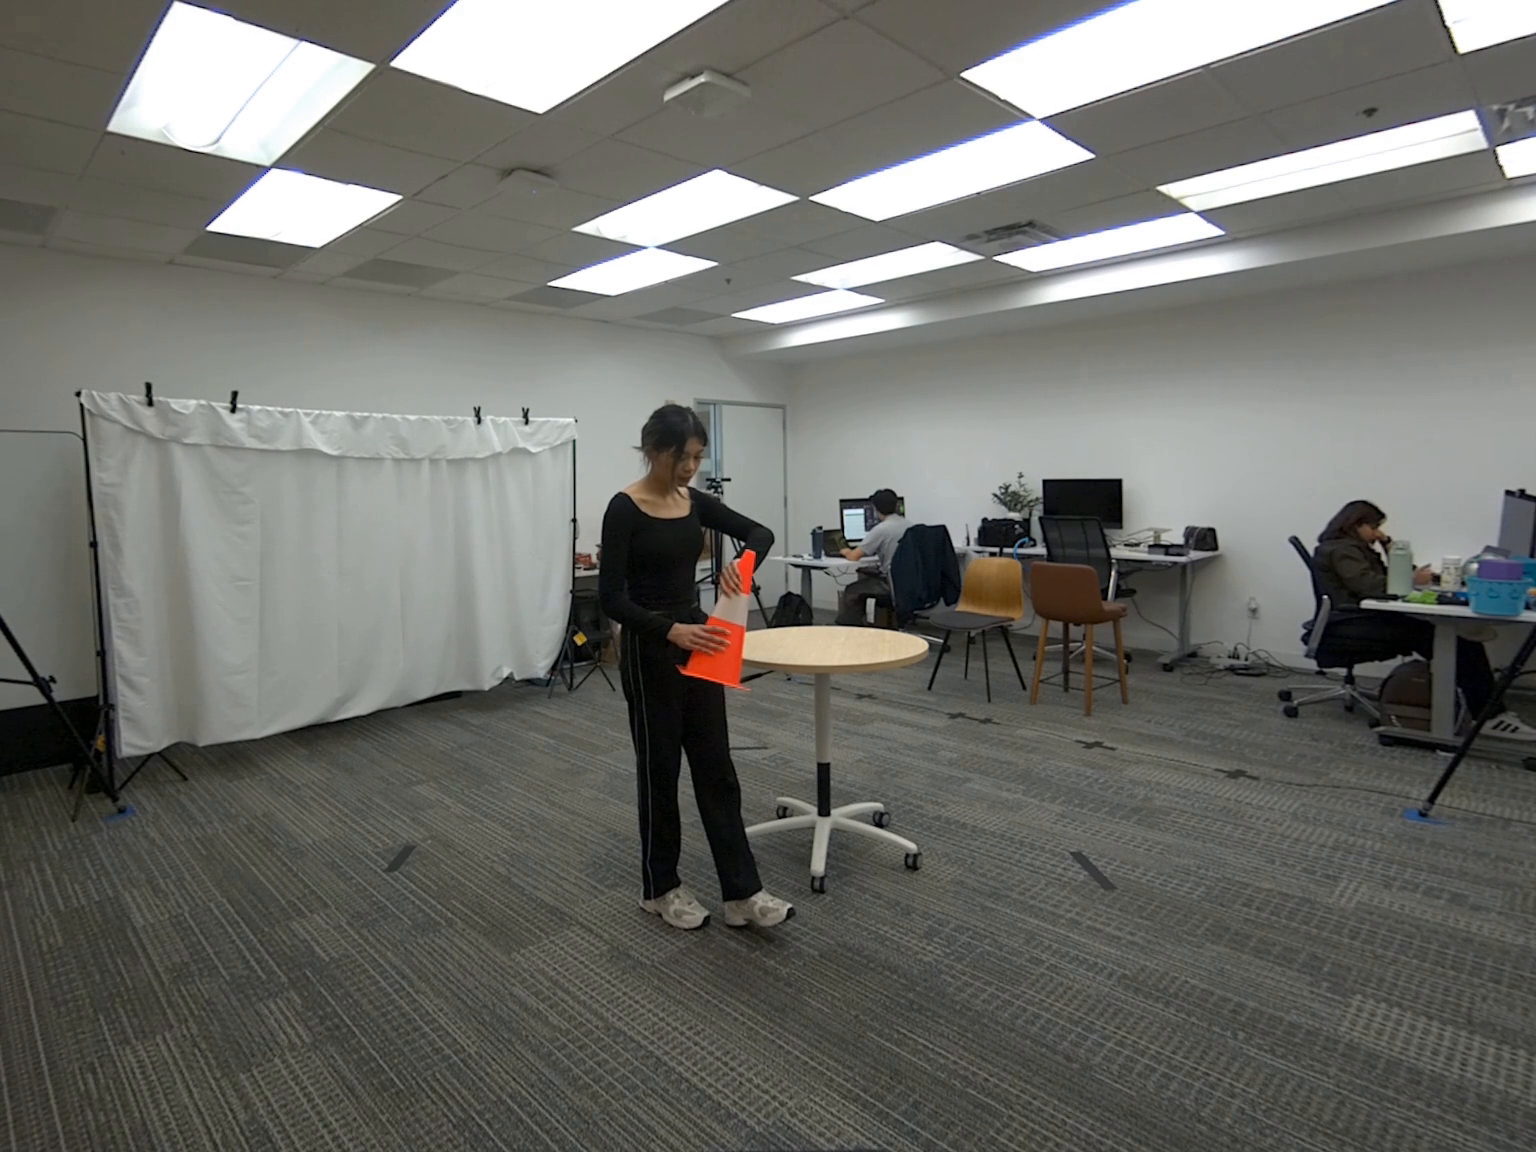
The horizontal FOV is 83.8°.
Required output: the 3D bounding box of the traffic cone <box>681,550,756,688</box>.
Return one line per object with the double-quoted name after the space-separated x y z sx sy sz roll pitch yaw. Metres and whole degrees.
-0.097 0.115 2.448 0.203 0.385 0.205 16 -6 -4 "traffic cone"
